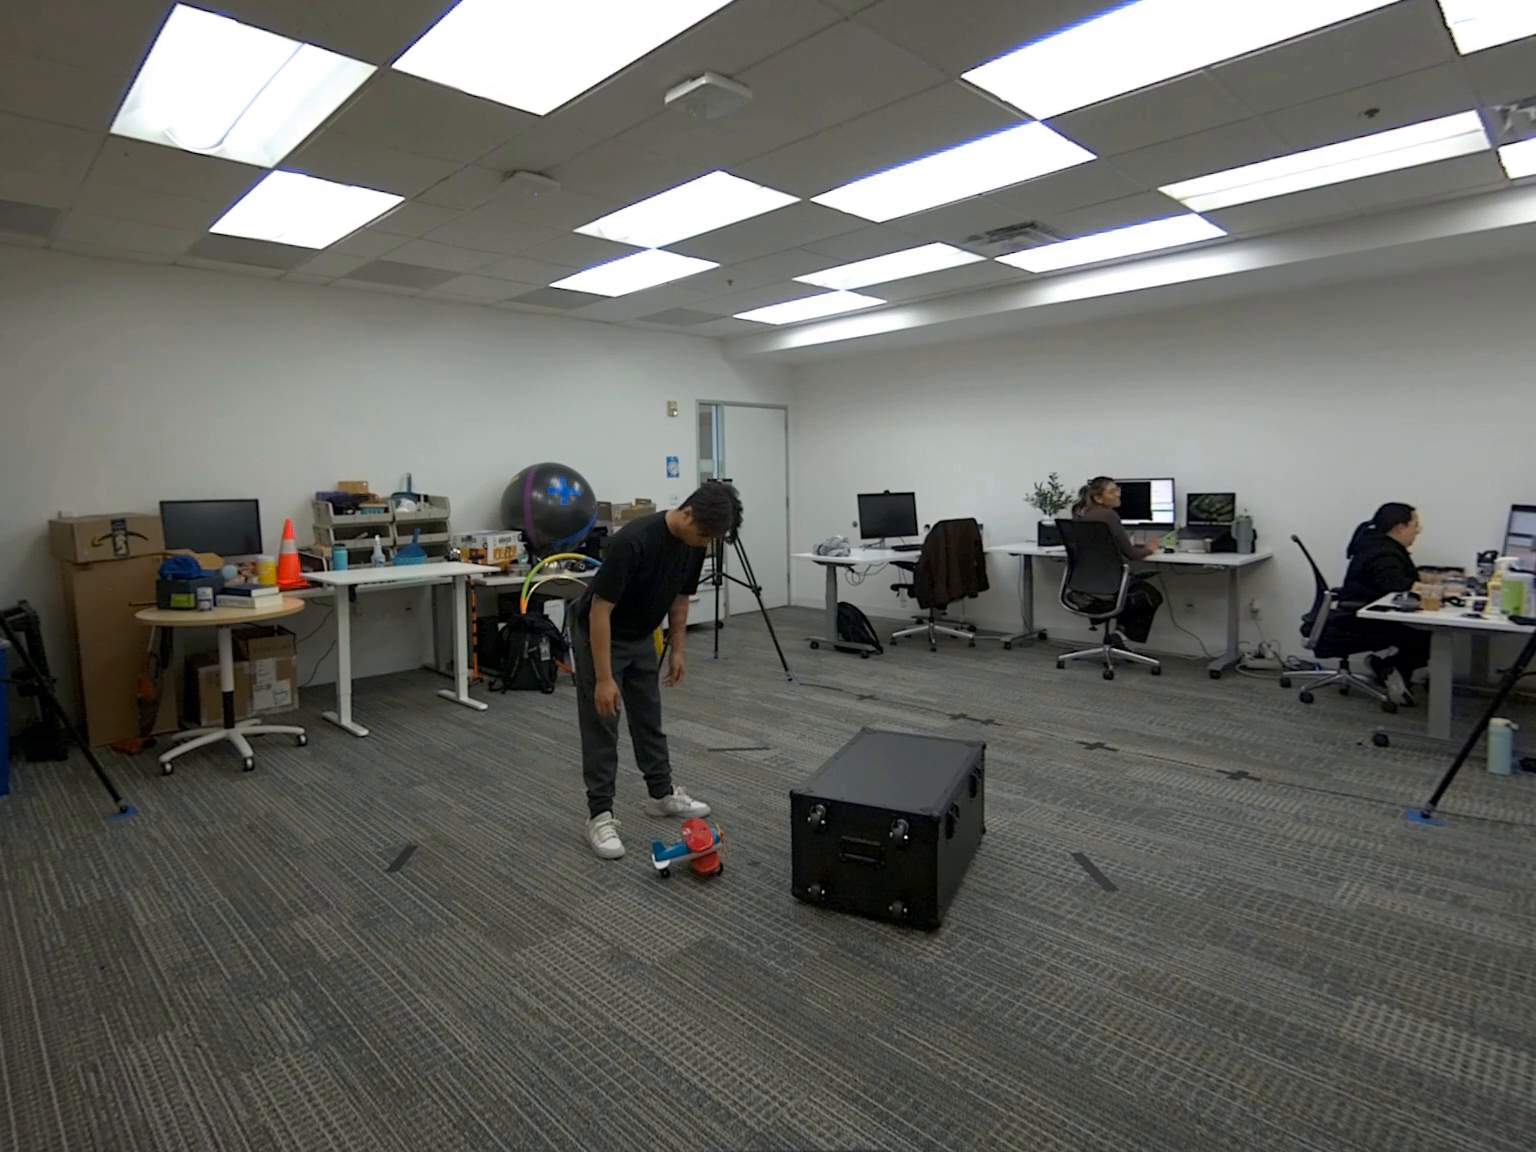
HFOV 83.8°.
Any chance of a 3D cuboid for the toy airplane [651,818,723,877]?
[{"bbox_3d":[-0.264,0.983,3.019,0.252,0.156,0.259,-5,7,-43],"label":"toy airplane"}]
